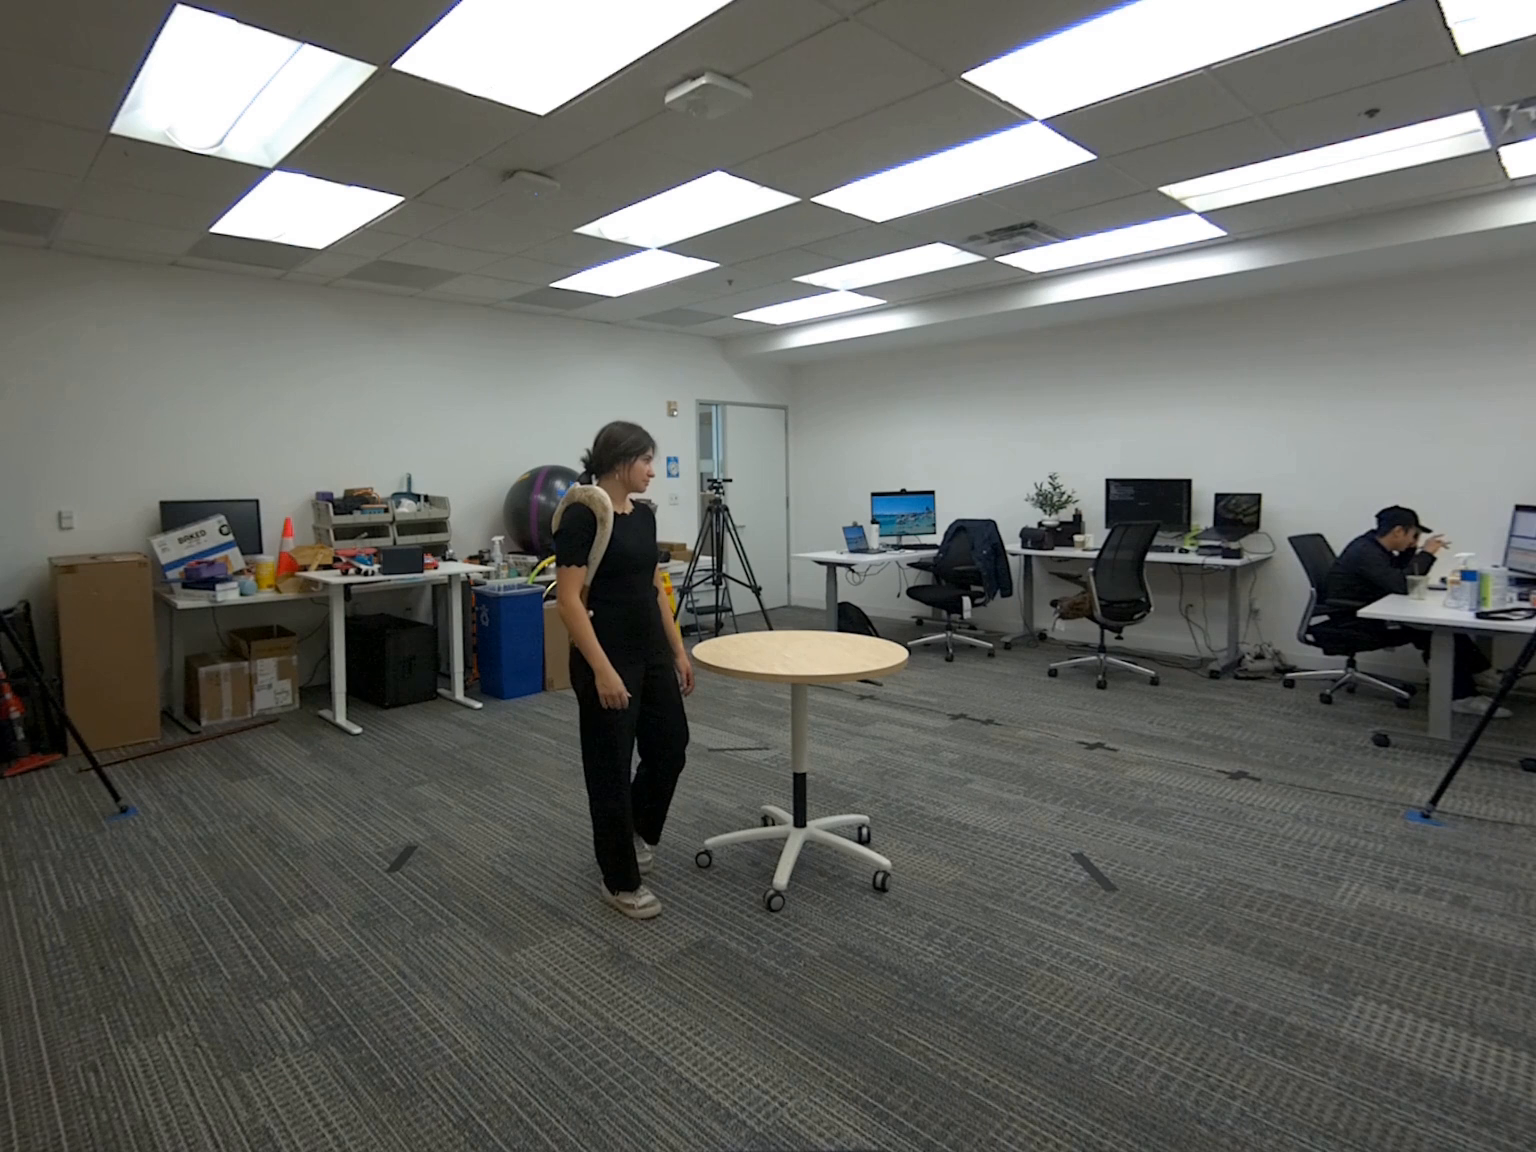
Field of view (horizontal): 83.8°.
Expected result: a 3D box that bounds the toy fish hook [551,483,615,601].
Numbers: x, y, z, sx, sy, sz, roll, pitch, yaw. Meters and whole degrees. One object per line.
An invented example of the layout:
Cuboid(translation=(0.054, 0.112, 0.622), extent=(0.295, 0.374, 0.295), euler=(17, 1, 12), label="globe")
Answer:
Cuboid(translation=(-0.612, -0.037, 2.687), extent=(0.231, 0.505, 0.047), euler=(10, 3, 32), label="toy fish hook")
